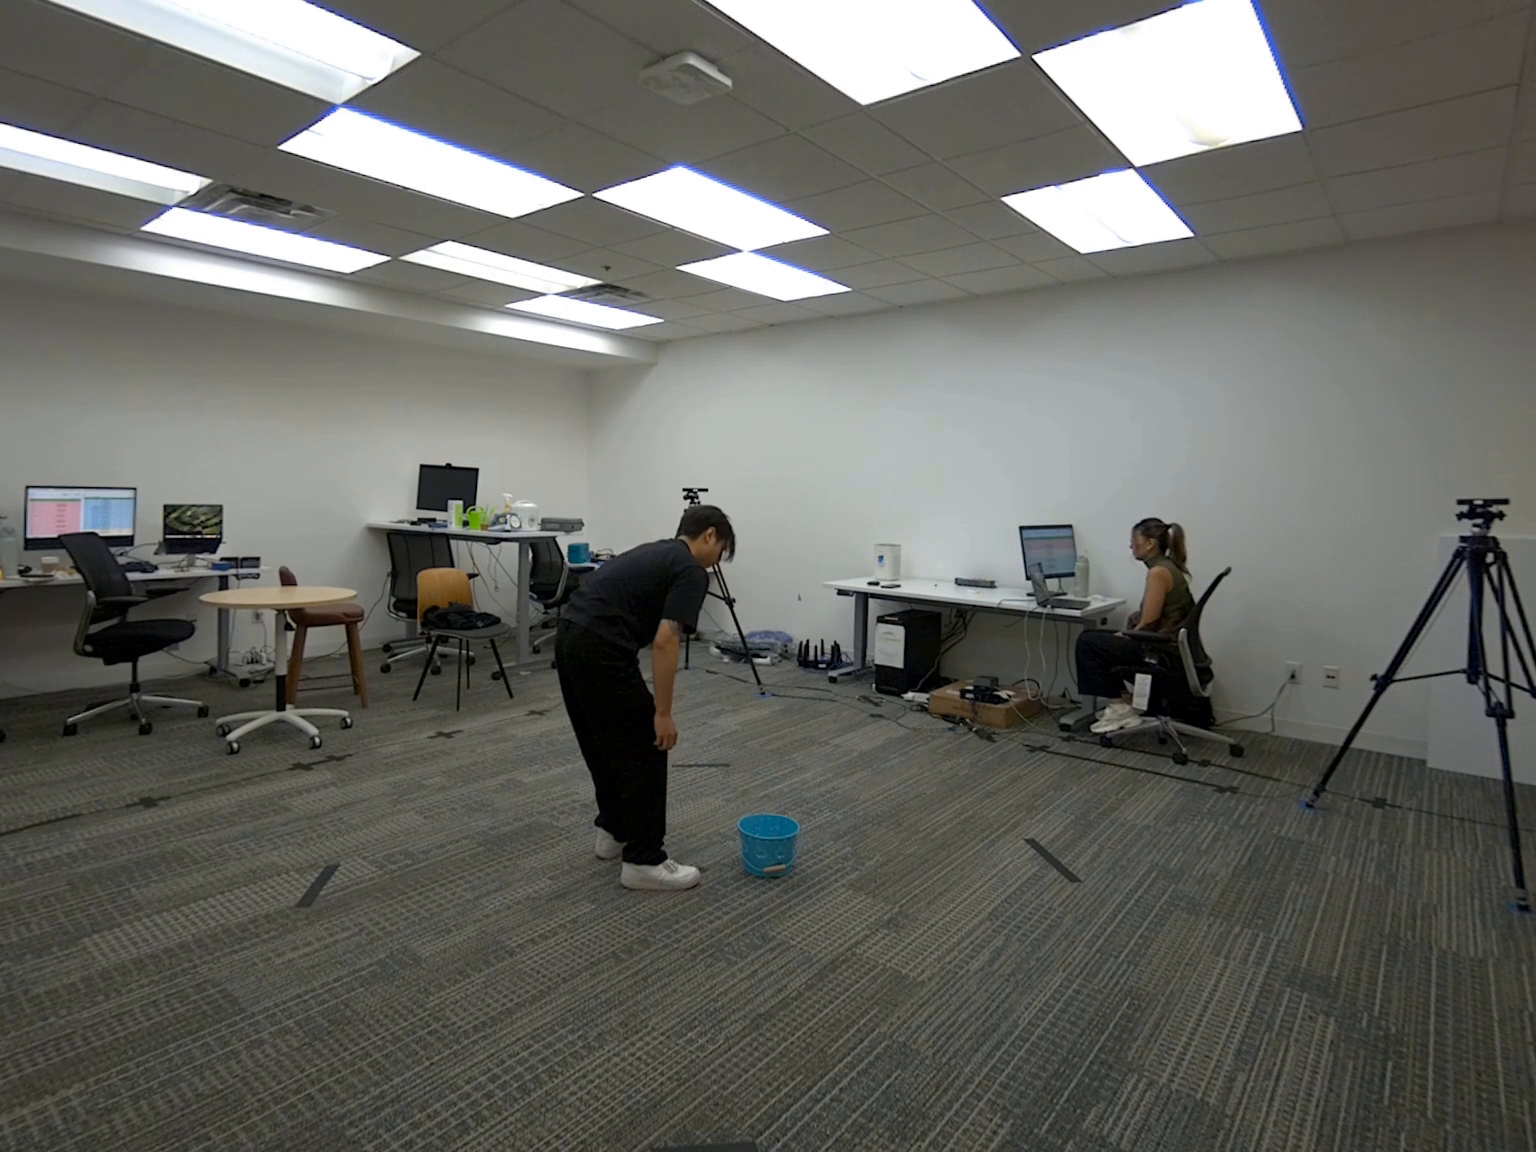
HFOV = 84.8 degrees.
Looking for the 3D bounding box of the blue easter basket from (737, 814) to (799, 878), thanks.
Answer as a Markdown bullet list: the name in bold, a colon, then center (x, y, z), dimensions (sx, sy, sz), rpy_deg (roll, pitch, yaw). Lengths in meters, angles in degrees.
- **blue easter basket**: center (-0.009, 0.991, 3.144), dimensions (0.243, 0.155, 0.245), rpy_deg (1, 4, -2)
